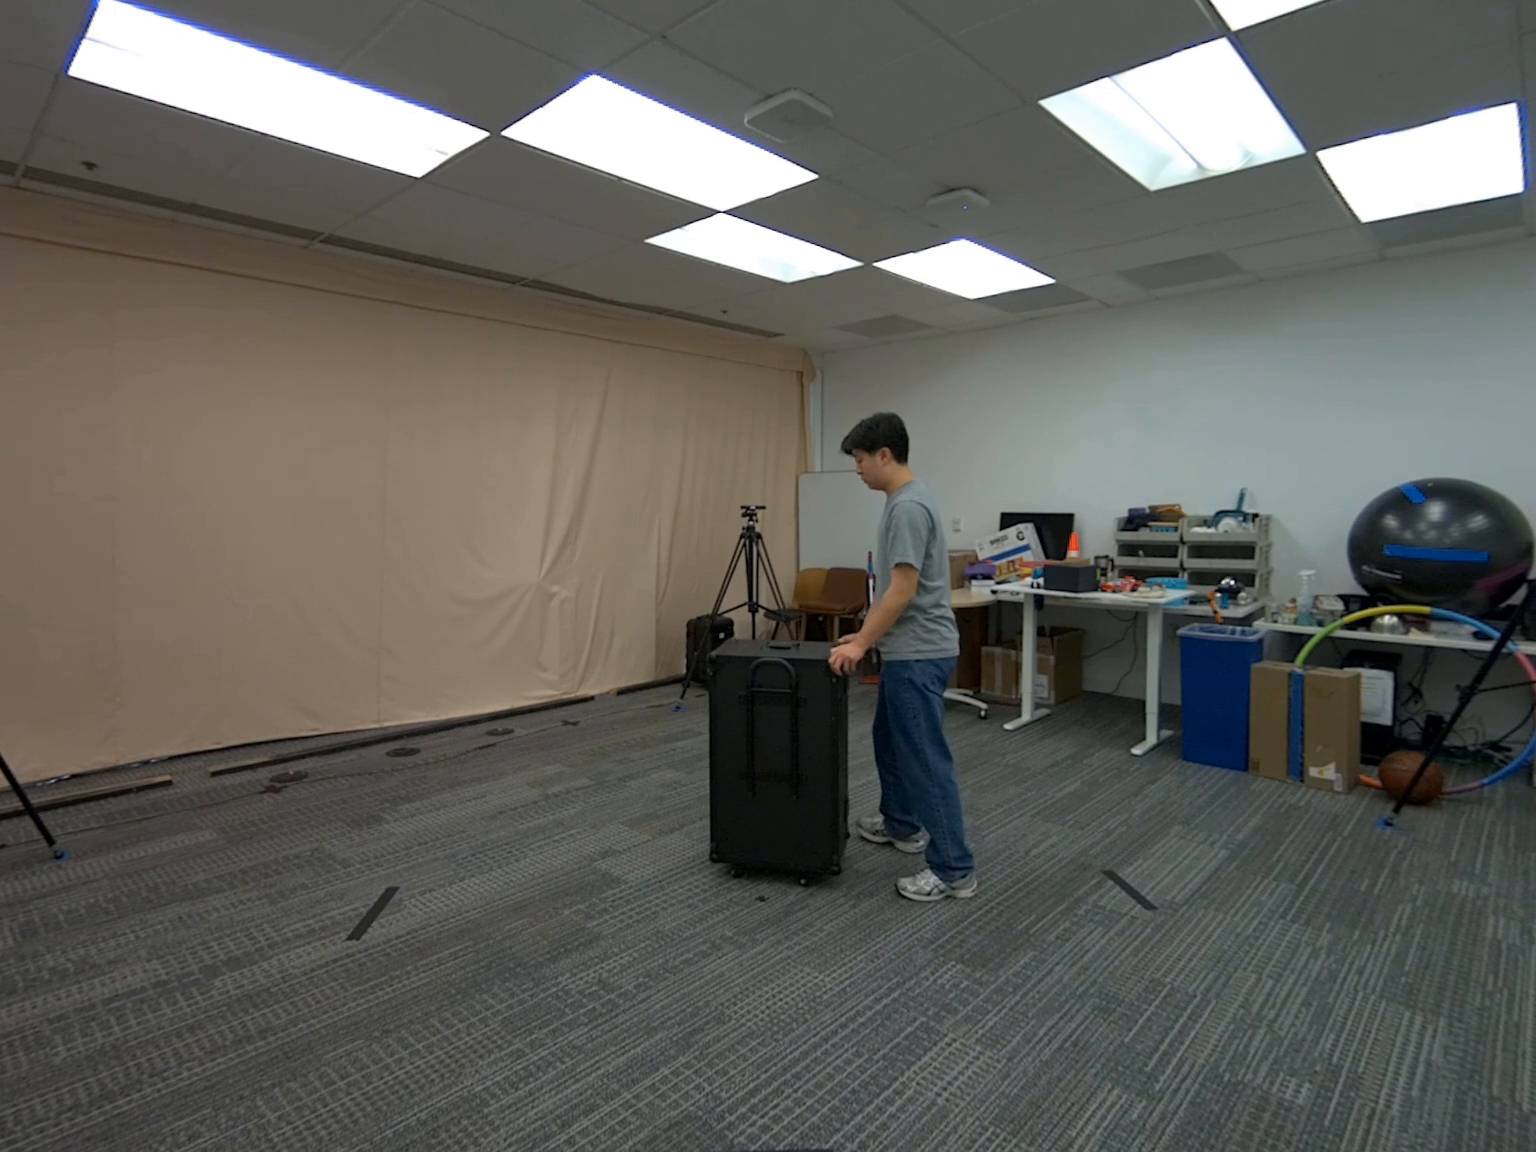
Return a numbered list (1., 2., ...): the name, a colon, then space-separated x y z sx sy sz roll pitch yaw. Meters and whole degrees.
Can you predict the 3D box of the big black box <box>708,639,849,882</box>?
1. big black box: 0.056 0.706 3.210 0.530 0.859 0.391 1 4 14
